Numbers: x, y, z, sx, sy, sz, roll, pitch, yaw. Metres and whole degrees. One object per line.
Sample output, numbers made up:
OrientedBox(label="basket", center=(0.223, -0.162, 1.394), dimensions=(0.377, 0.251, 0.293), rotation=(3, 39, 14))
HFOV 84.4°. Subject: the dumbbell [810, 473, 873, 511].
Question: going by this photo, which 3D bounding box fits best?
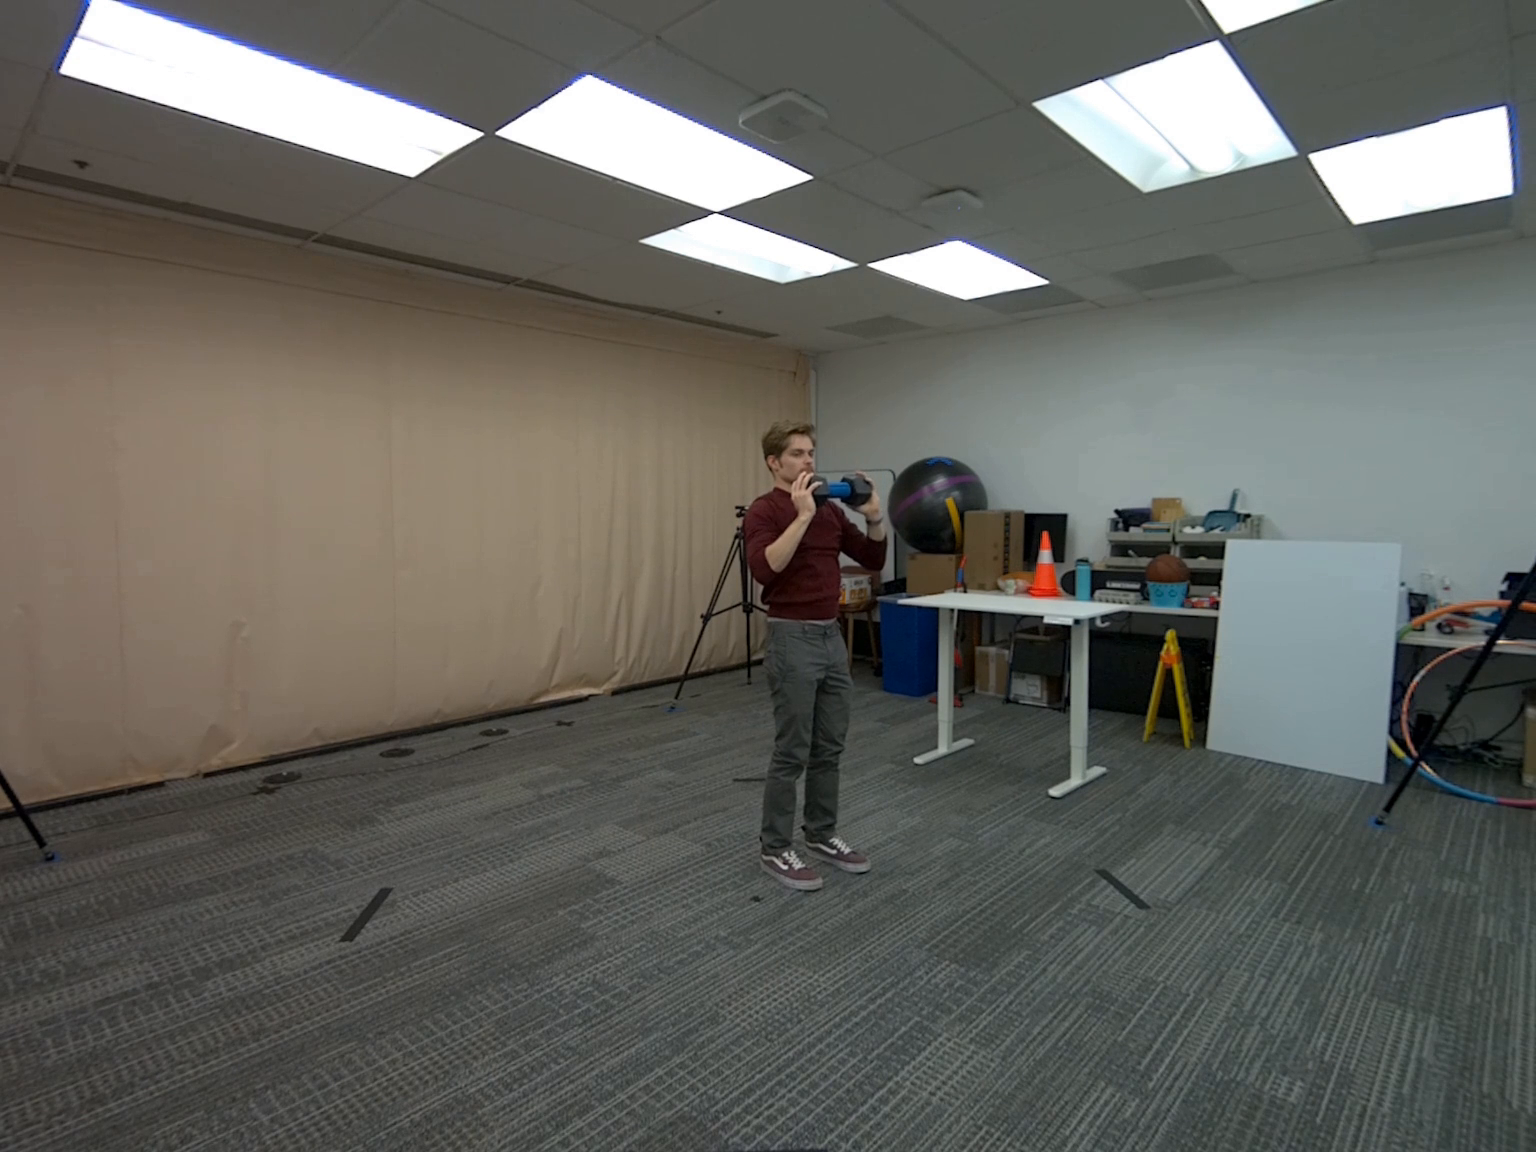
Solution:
OrientedBox(label="dumbbell", center=(0.242, -0.313, 3.059), dimensions=(0.285, 0.124, 0.110), rotation=(-9, -13, -37))
